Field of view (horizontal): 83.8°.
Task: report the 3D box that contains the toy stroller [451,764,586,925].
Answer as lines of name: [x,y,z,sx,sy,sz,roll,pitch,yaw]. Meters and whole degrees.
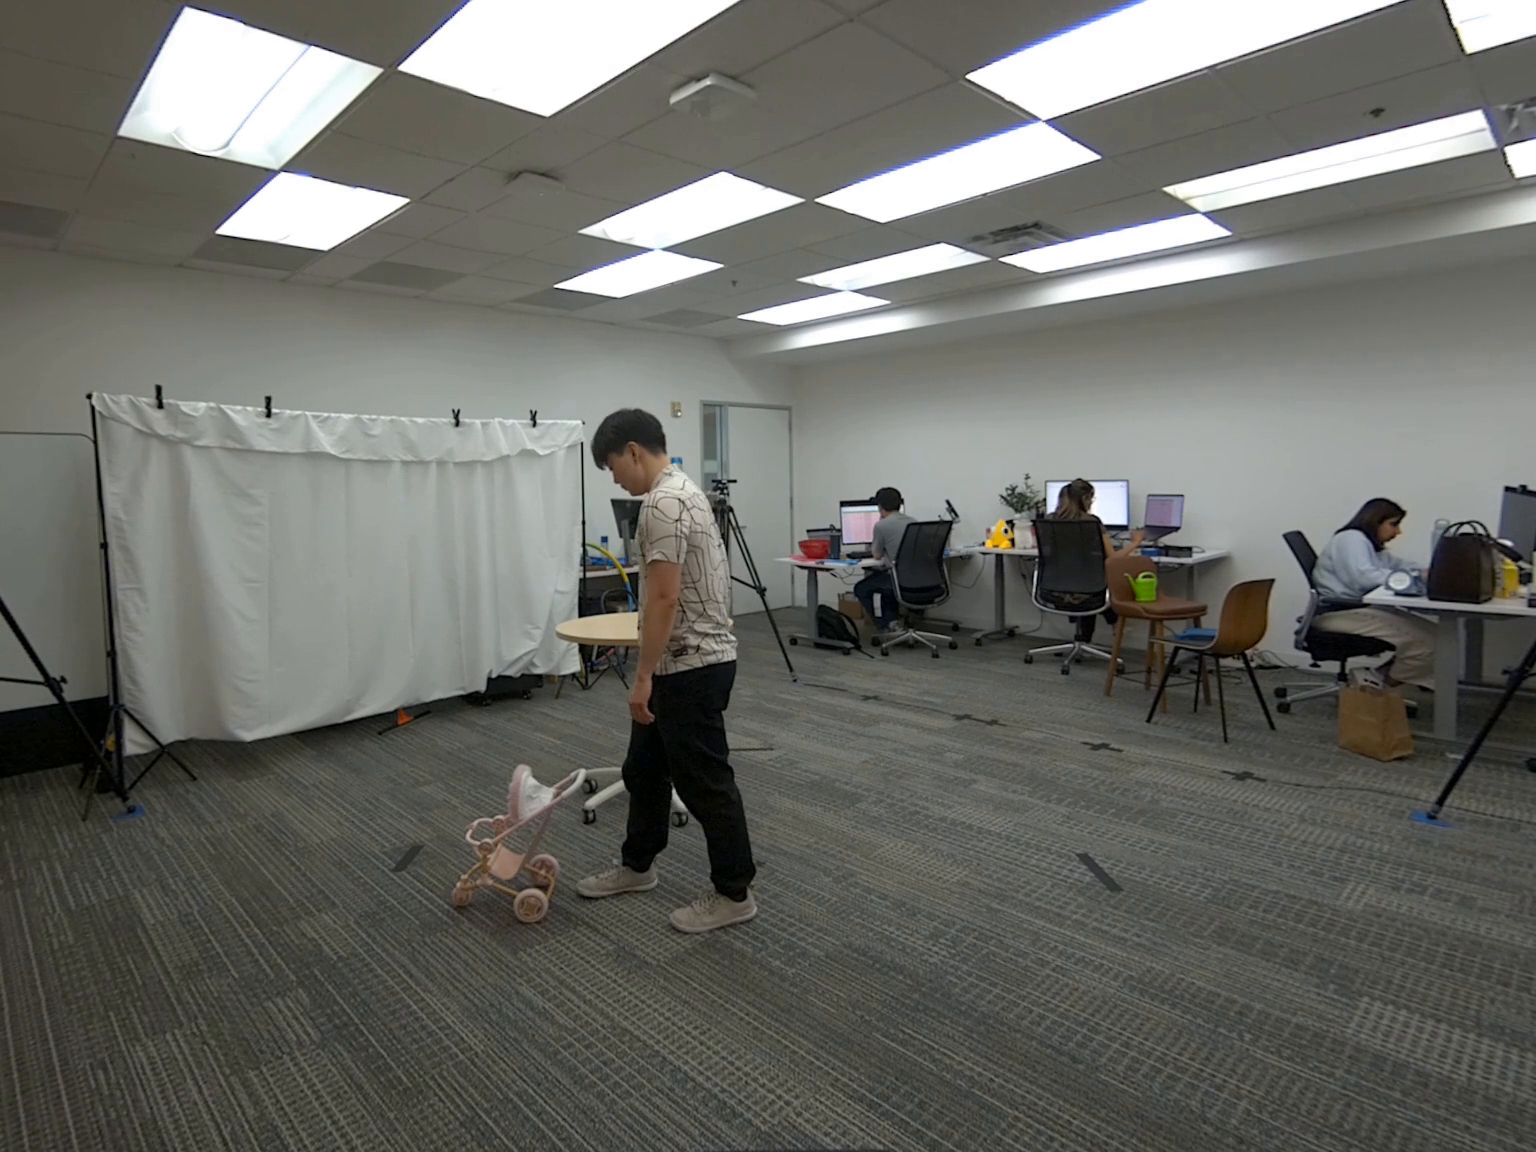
toy stroller: [-0.834,0.874,2.833,0.342,0.533,0.282,14,4,0]
